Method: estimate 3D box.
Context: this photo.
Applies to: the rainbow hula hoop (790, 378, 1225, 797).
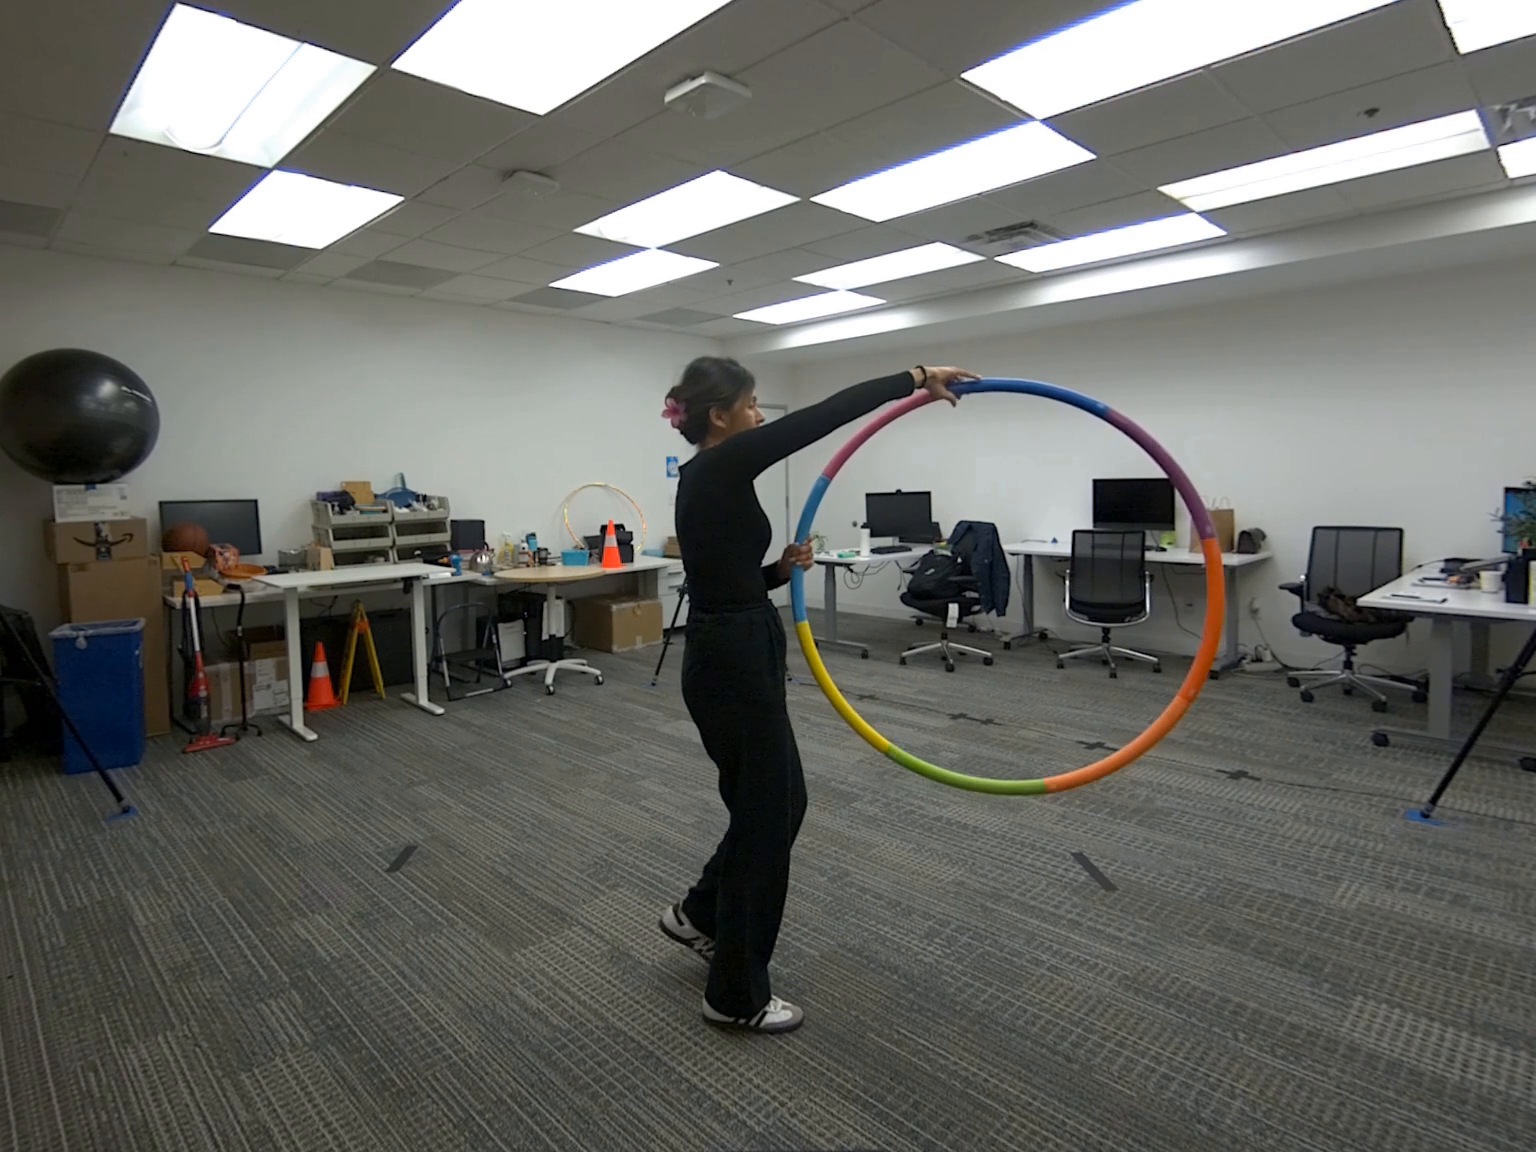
[{"bbox_3d":[0.527,0.016,2.043,0.999,0.988,0.051,0,-3,14],"label":"rainbow hula hoop"}]
